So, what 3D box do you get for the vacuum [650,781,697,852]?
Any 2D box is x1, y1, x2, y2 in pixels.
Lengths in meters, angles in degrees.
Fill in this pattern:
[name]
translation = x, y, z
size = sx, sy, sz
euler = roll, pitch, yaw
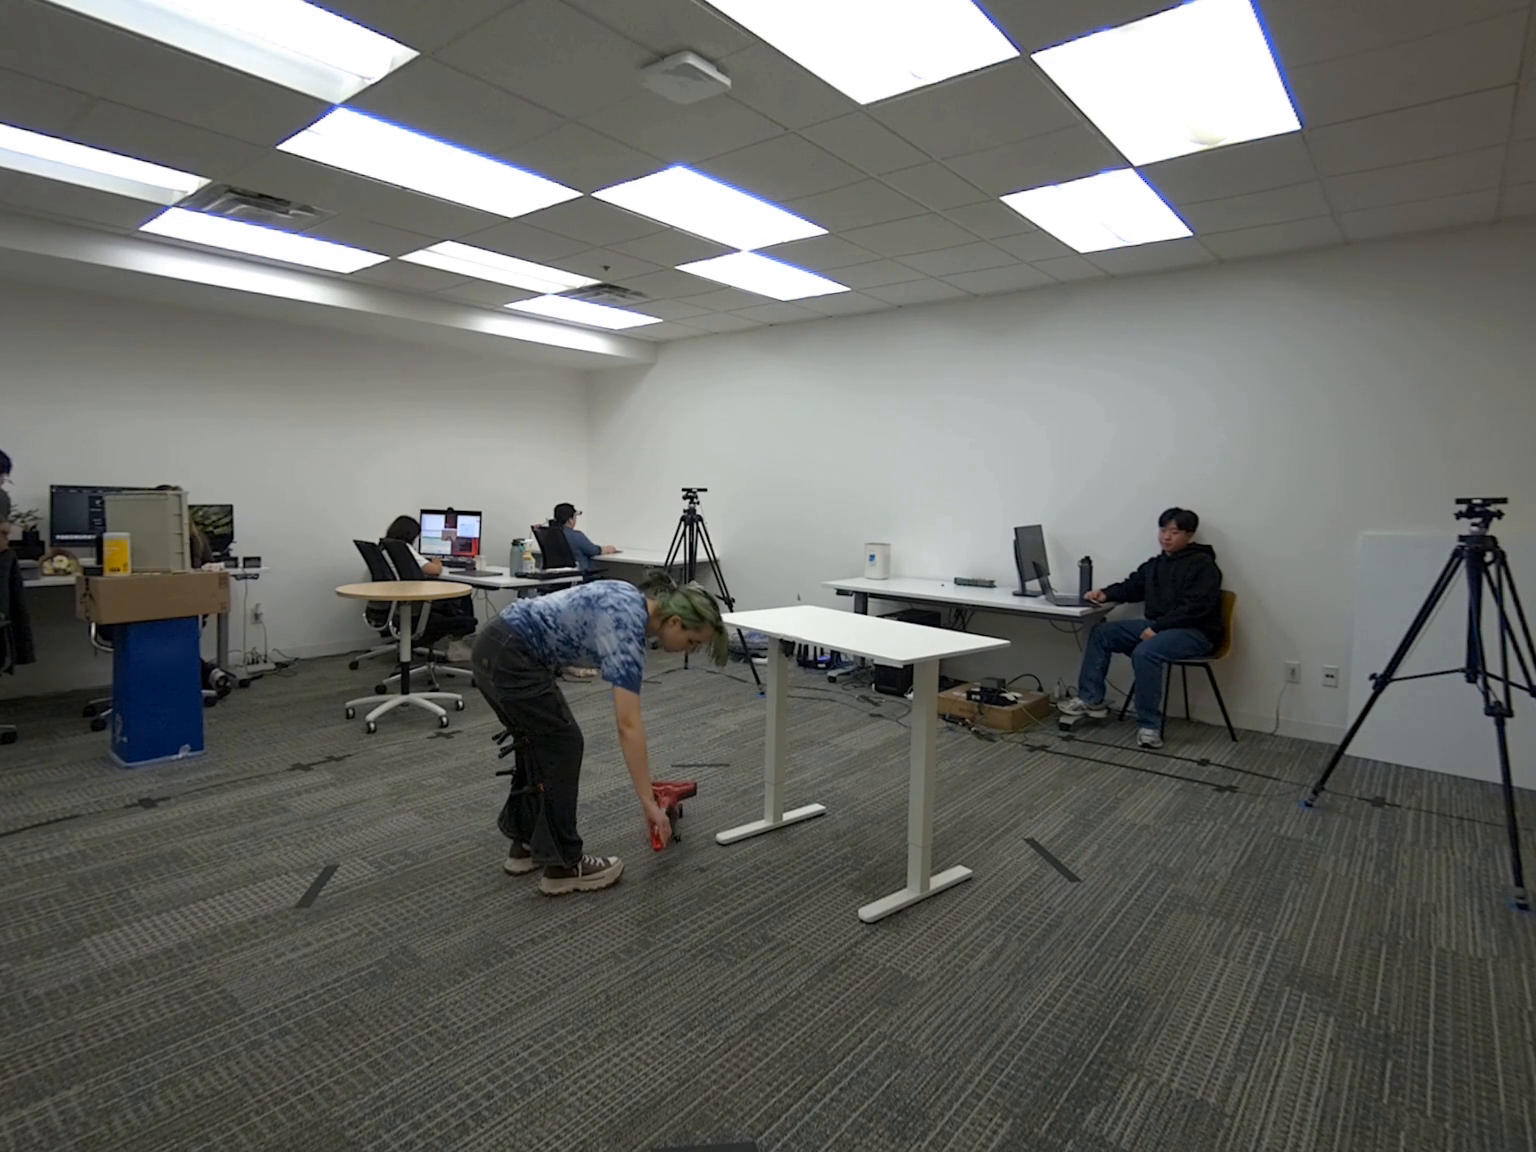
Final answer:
[vacuum]
translation = -0.400, 0.902, 3.125
size = 0.252, 0.145, 1.045
euler = 1, -5, -4
